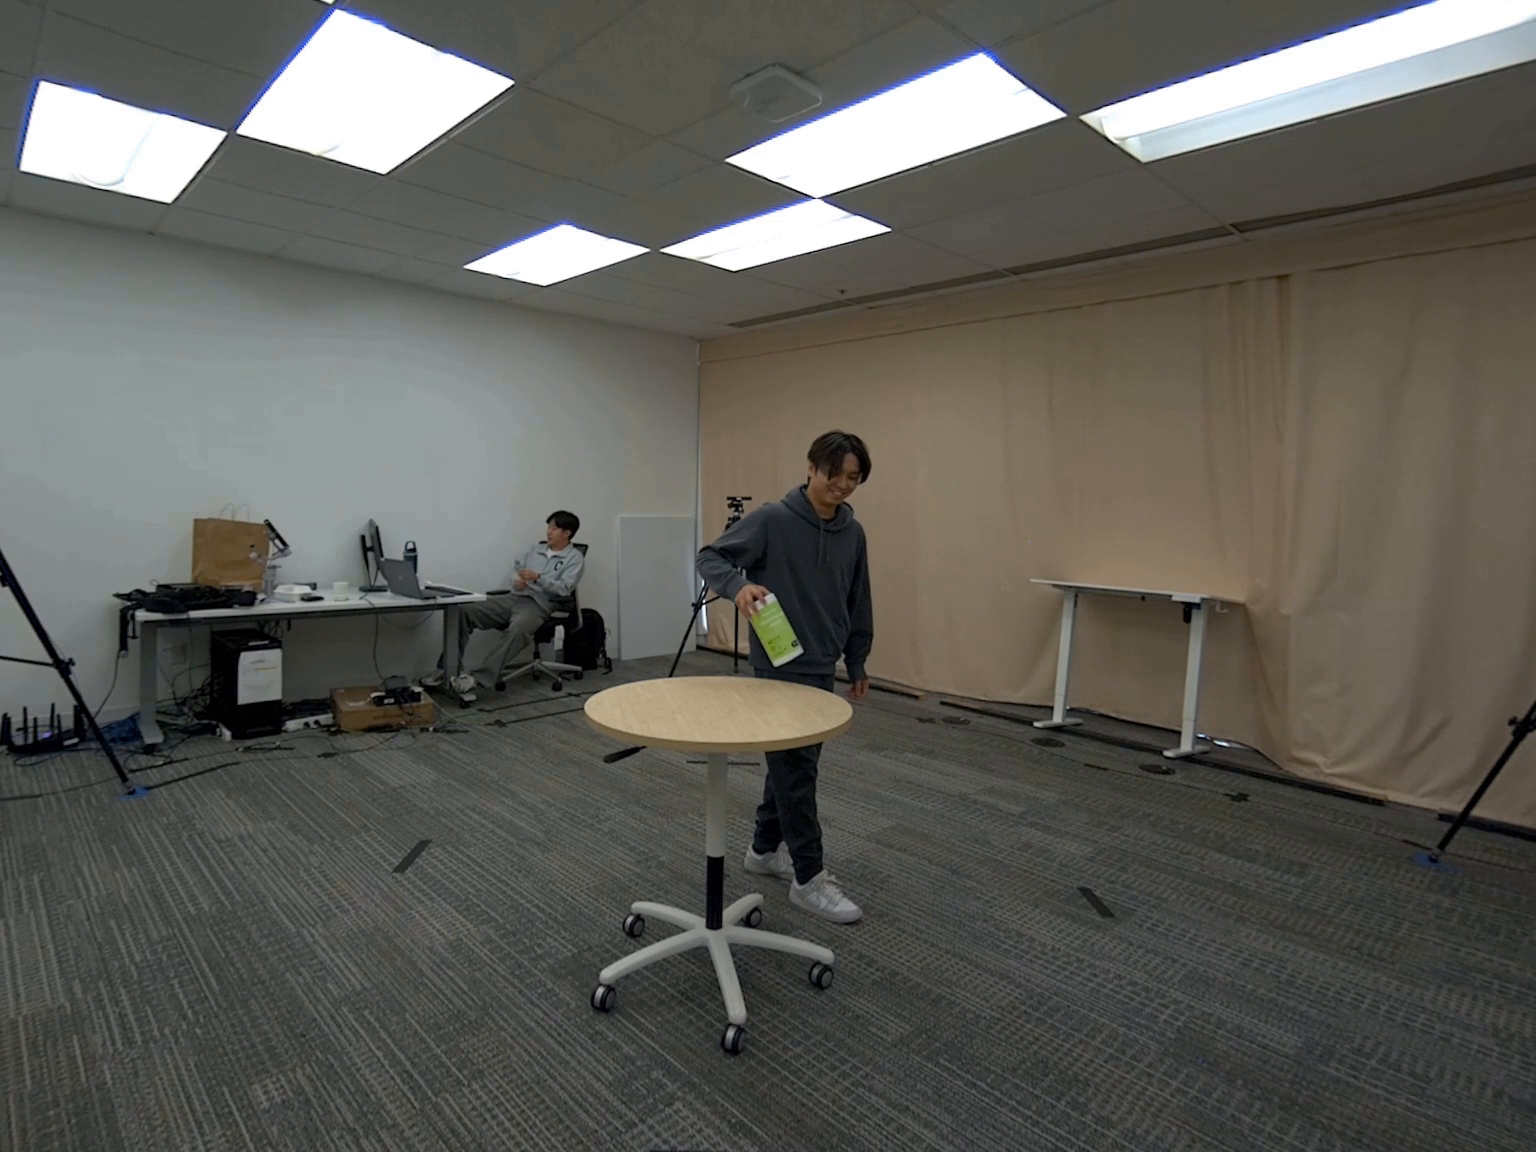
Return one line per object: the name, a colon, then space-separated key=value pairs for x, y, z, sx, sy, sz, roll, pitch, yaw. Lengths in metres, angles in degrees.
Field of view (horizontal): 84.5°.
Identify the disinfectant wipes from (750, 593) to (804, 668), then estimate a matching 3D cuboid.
disinfectant wipes: x=0.007 y=0.177 z=2.706 sx=0.117 sy=0.218 sz=0.117 roll=-24 pitch=-4 yaw=-3
